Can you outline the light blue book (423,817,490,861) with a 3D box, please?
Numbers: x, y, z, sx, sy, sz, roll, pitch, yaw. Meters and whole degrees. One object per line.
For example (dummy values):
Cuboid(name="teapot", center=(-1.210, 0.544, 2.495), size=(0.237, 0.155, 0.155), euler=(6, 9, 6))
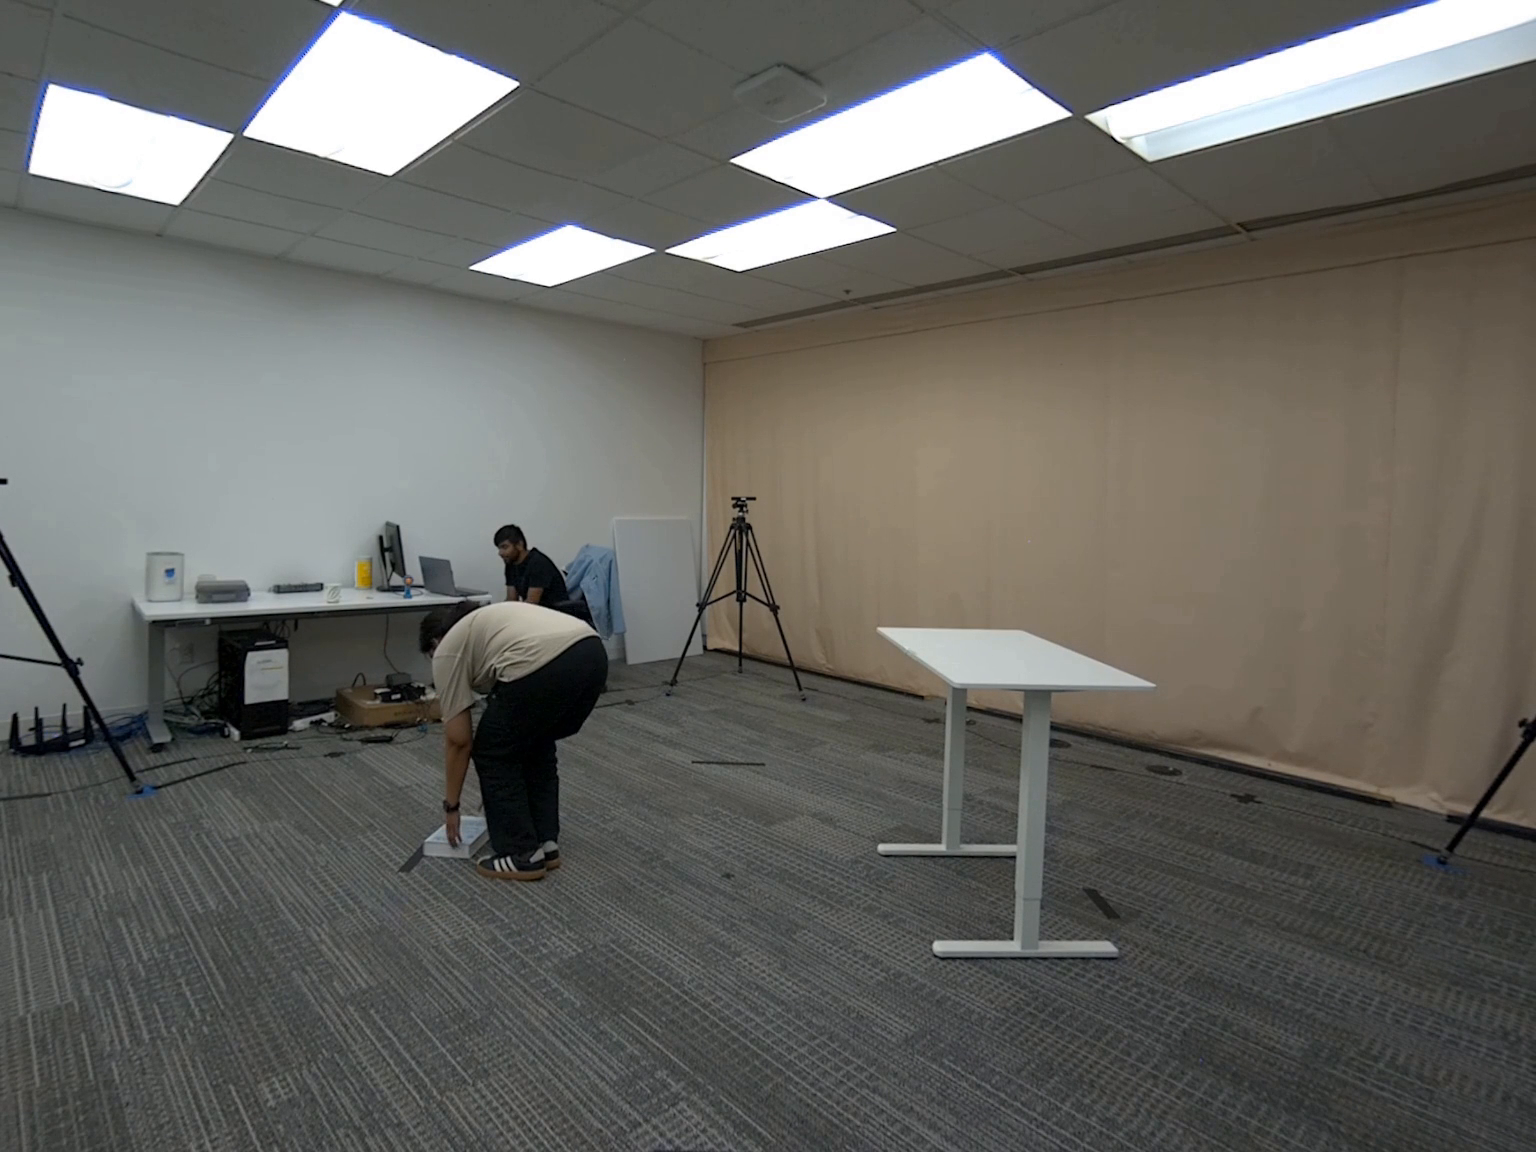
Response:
Cuboid(name="light blue book", center=(-1.207, 1.029, 3.336), size=(0.192, 0.059, 0.261), euler=(1, 5, 4))
